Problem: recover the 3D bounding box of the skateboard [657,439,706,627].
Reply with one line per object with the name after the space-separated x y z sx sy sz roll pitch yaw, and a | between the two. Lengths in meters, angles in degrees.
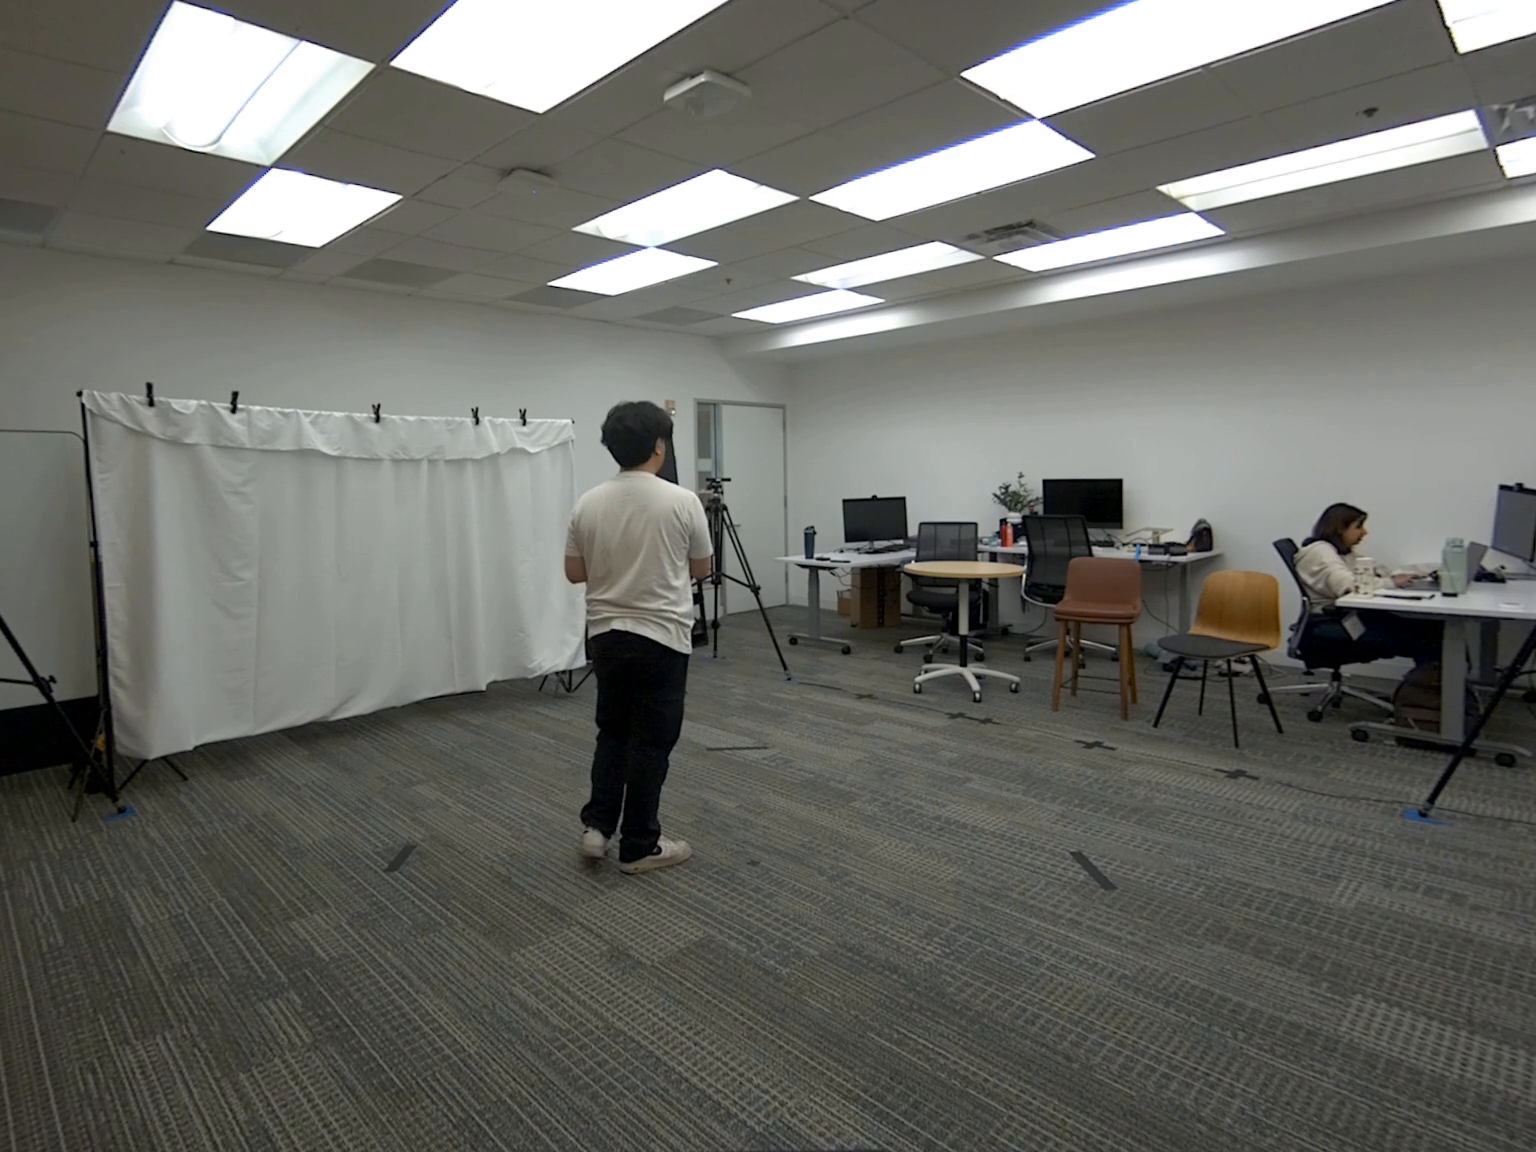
-0.431 -0.244 3.357 0.189 0.781 0.113 -10 7 -40 | skateboard
